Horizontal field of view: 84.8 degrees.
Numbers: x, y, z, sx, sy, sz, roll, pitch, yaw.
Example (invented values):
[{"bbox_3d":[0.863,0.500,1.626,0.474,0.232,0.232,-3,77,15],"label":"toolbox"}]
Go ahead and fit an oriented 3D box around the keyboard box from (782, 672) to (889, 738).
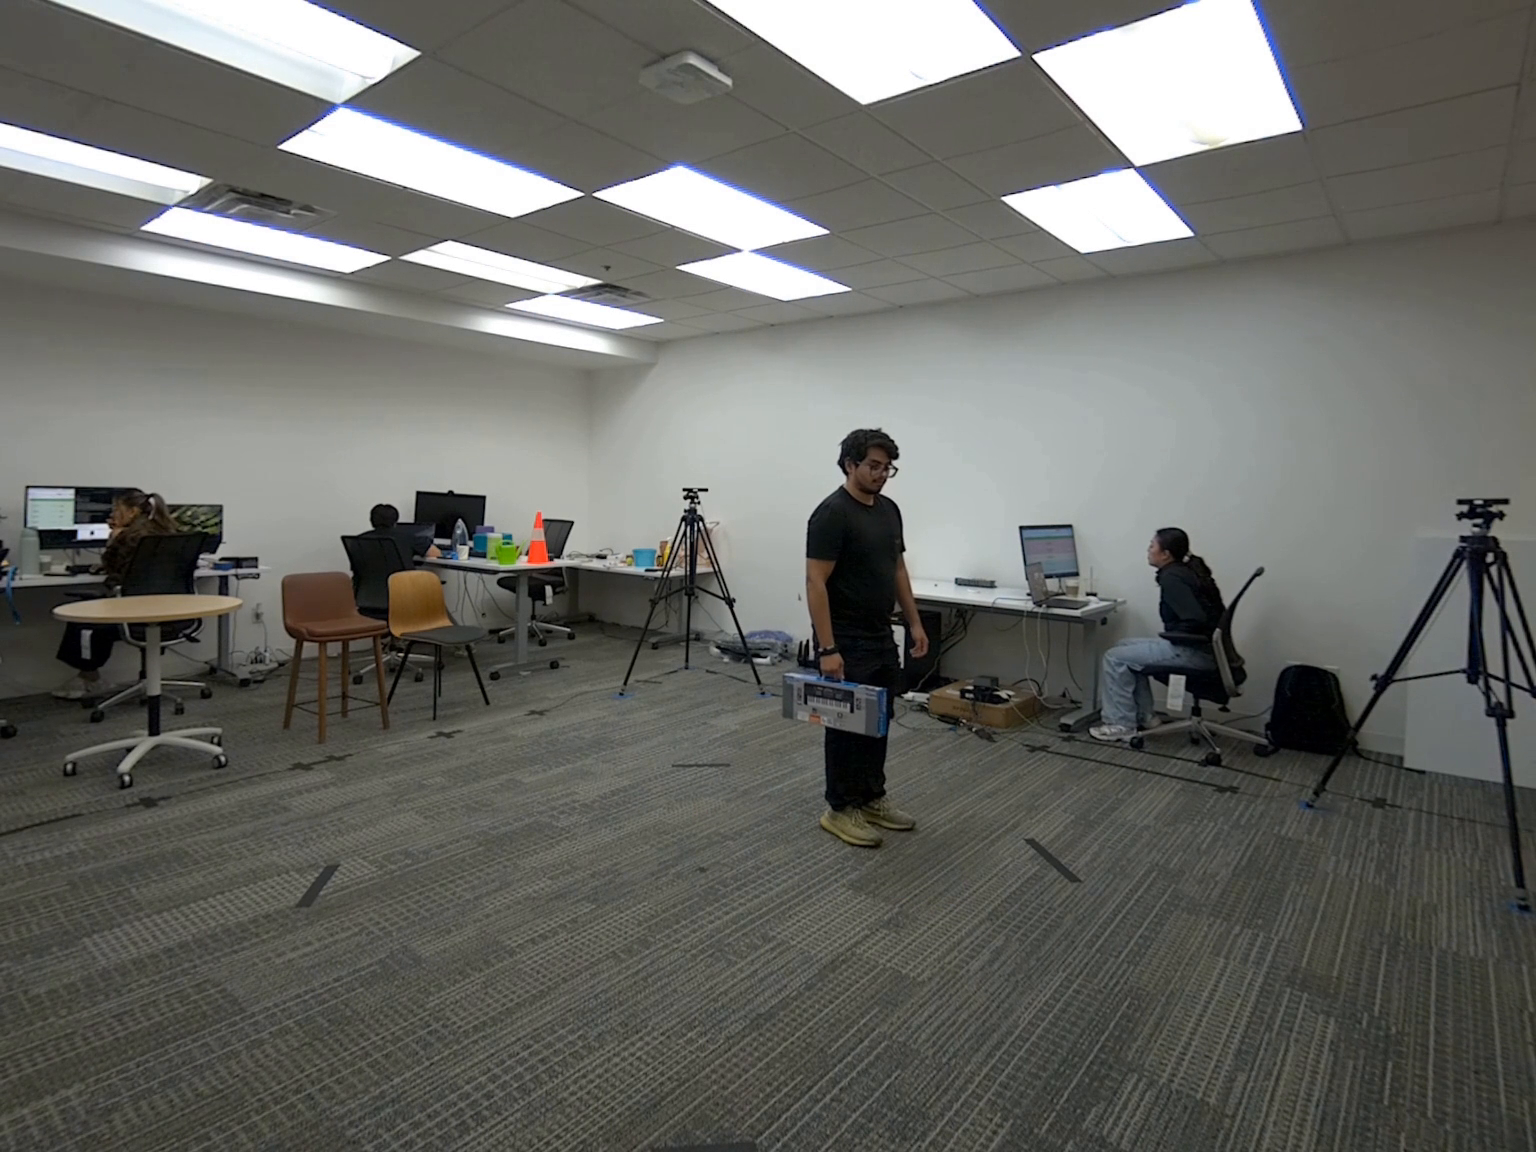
[{"bbox_3d":[0.240,0.483,3.246,0.451,0.175,0.057,4,4,40],"label":"keyboard box"}]
